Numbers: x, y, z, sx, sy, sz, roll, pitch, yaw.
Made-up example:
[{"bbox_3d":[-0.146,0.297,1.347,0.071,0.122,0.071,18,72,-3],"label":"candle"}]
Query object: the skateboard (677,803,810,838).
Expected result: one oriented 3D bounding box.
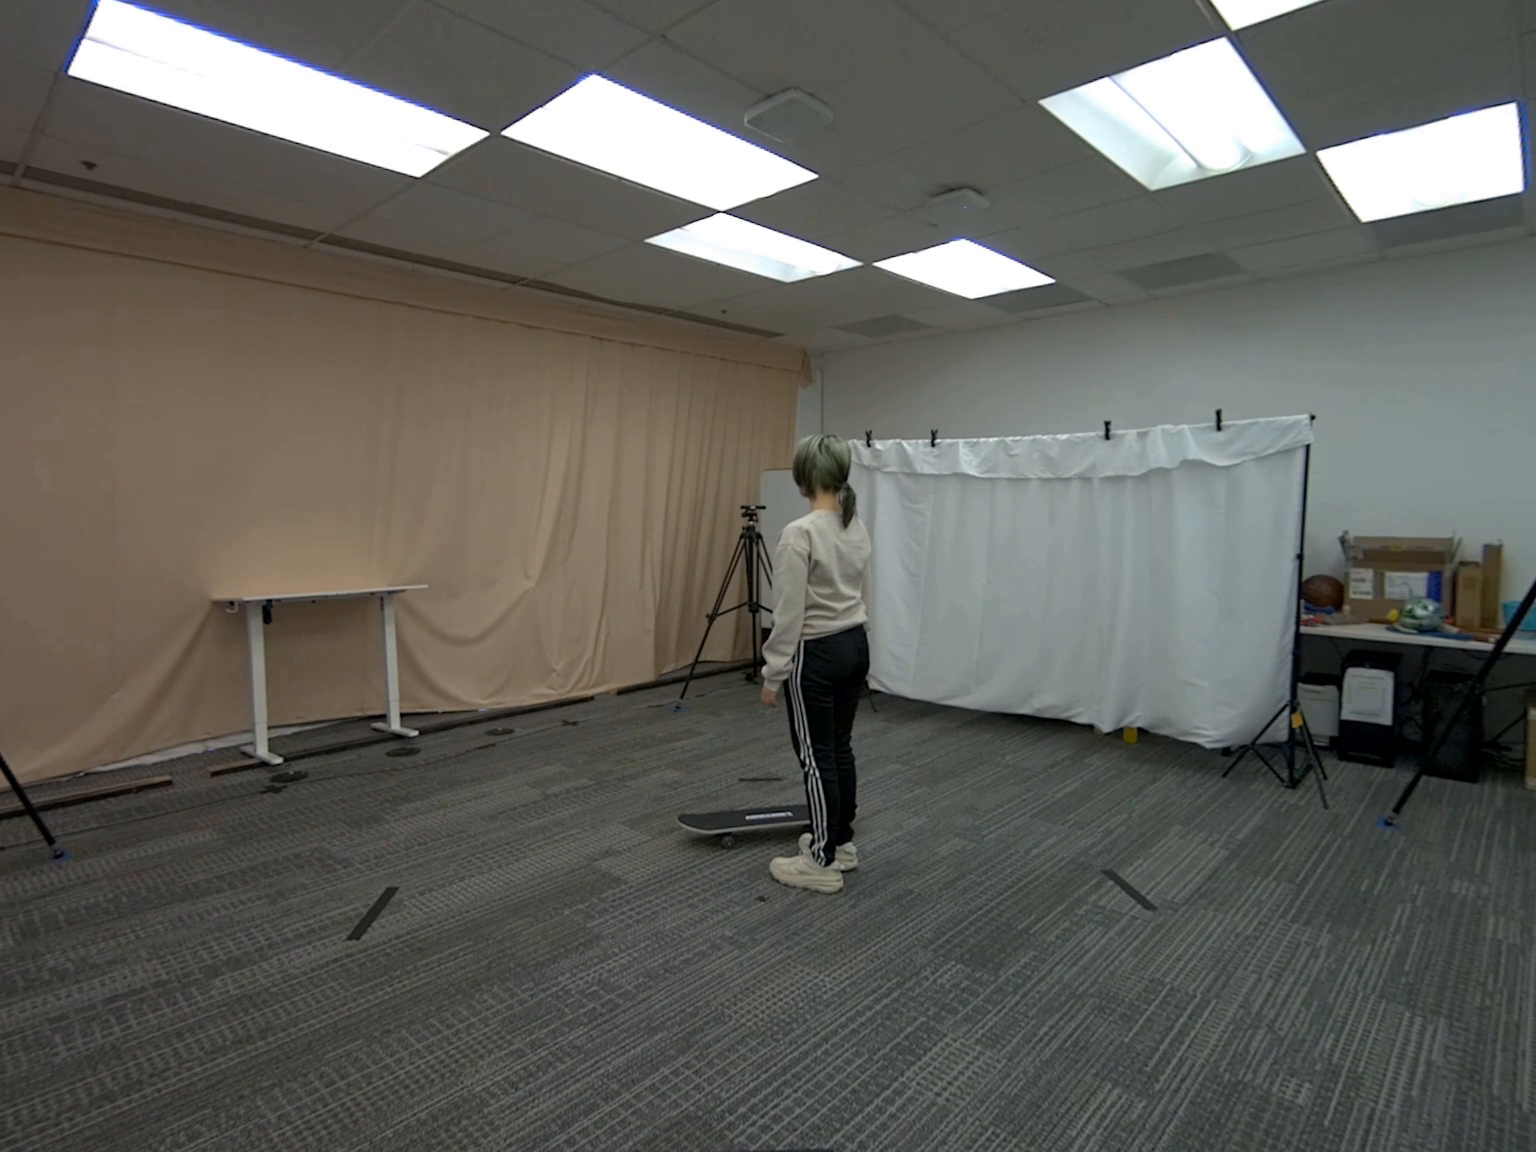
[{"bbox_3d":[0.000,1.039,3.544,0.774,0.110,0.197,-1,4,-14],"label":"skateboard"}]
